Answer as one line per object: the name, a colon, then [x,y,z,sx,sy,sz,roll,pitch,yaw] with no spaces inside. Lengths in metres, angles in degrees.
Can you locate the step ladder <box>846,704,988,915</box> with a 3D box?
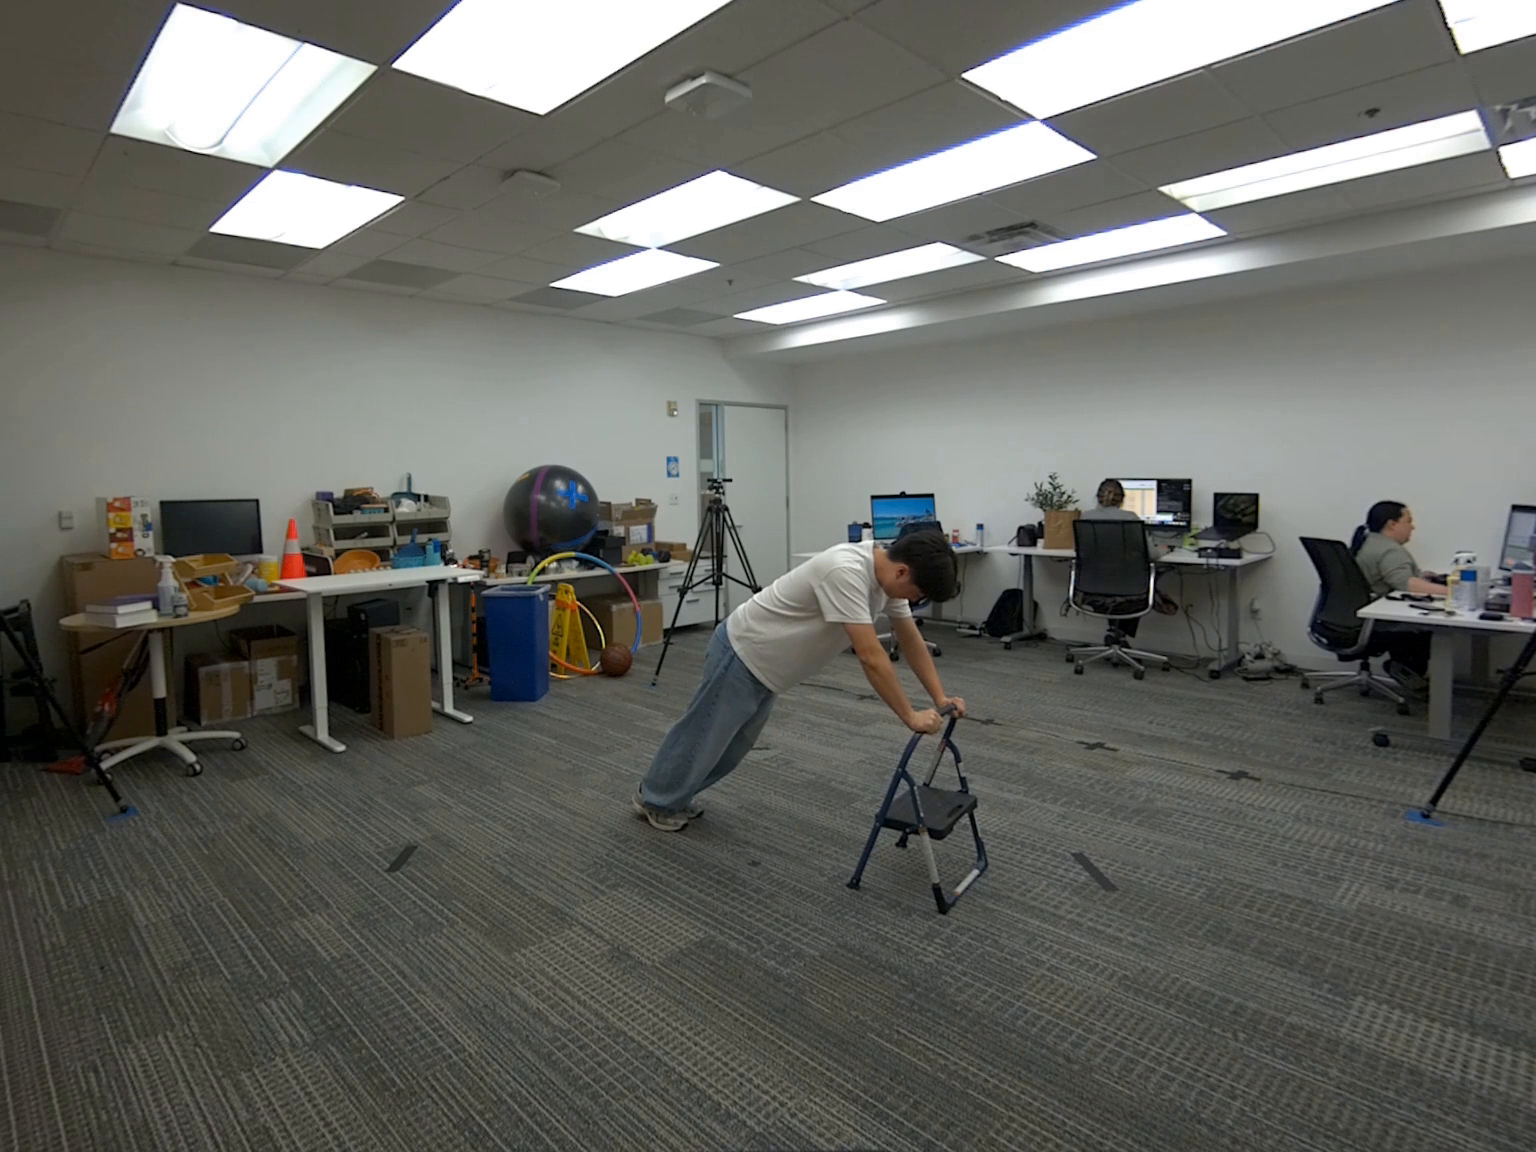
step ladder: [0.533,0.749,2.957,0.359,0.604,0.420,3,6,33]
